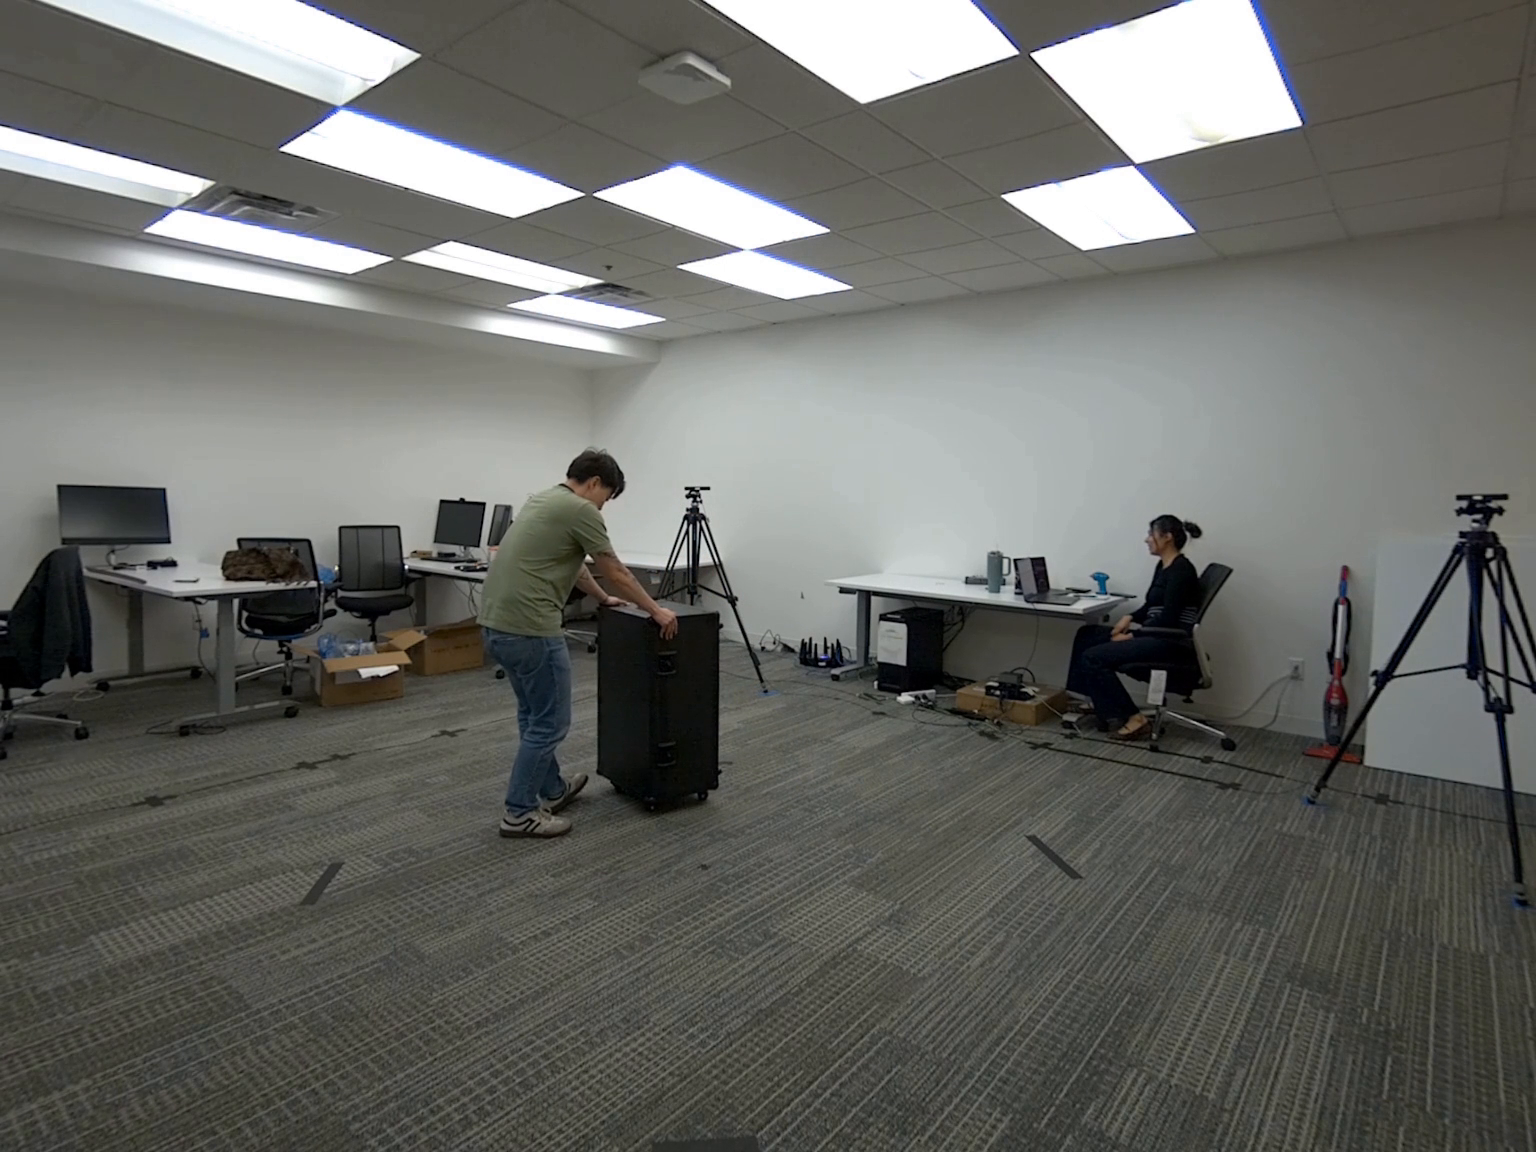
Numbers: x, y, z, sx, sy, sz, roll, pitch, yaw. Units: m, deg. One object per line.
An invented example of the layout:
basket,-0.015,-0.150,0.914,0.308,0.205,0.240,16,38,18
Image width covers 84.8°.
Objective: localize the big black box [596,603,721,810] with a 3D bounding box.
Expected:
big black box,-0.509,0.563,3.817,0.384,0.859,0.538,0,3,-36
